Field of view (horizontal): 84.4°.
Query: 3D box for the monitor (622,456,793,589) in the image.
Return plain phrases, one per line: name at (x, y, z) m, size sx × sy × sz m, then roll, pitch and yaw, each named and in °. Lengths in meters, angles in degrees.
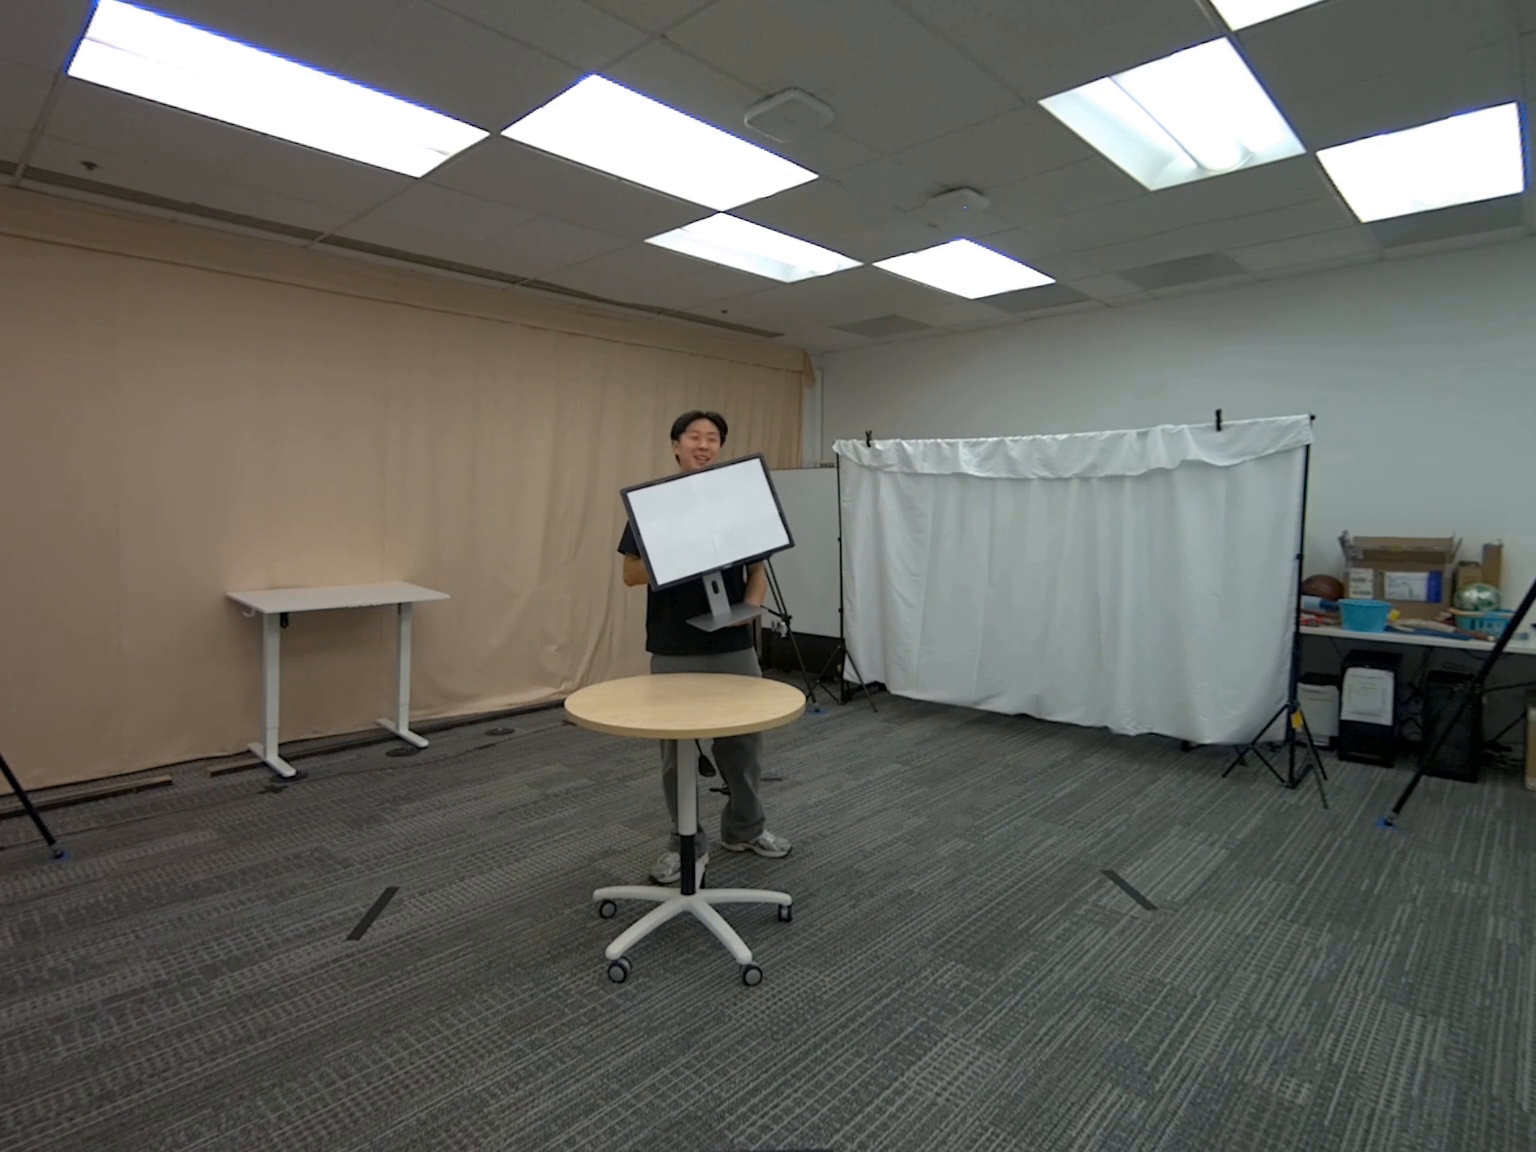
monitor at (-0.185, -0.101, 2.968) m, size 0.552 × 0.561 × 0.228 m, roll -18°, pitch 12°, yaw -23°
